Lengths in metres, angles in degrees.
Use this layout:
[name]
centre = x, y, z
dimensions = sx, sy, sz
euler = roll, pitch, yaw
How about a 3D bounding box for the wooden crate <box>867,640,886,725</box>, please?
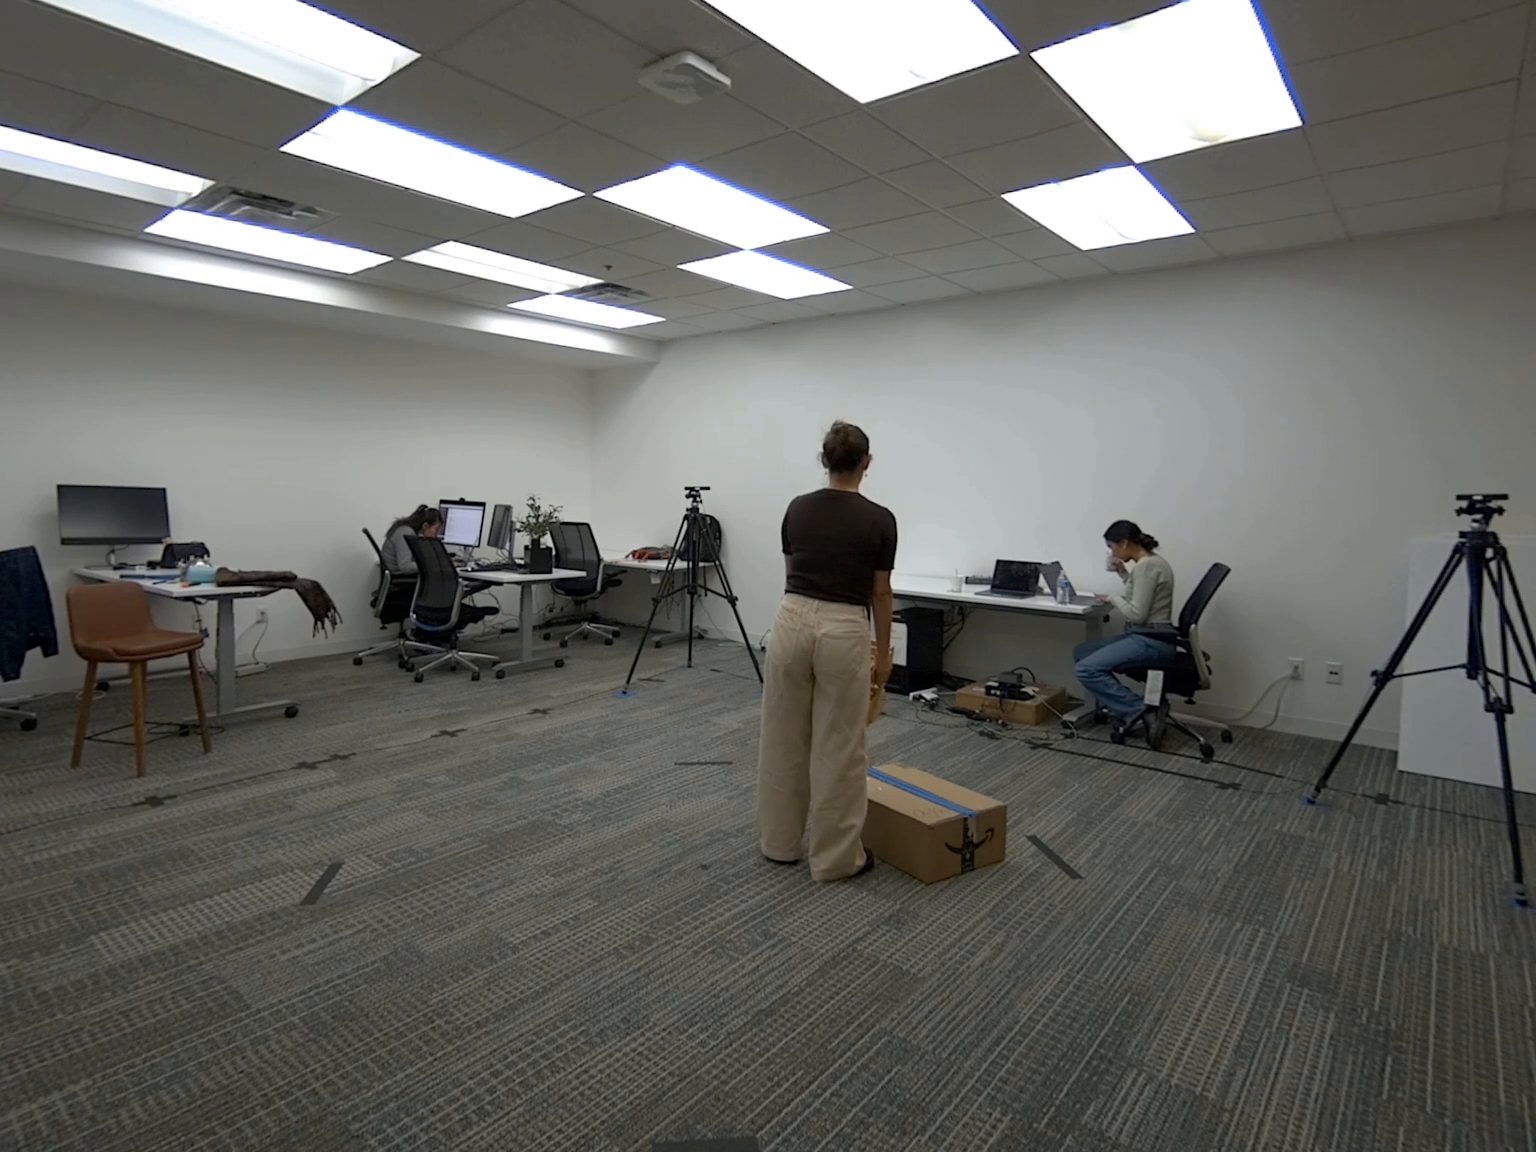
[wooden crate]
centre = 0.270, 0.384, 3.250
dimensions = 0.334, 0.269, 0.297
euler = 12, 20, 27
